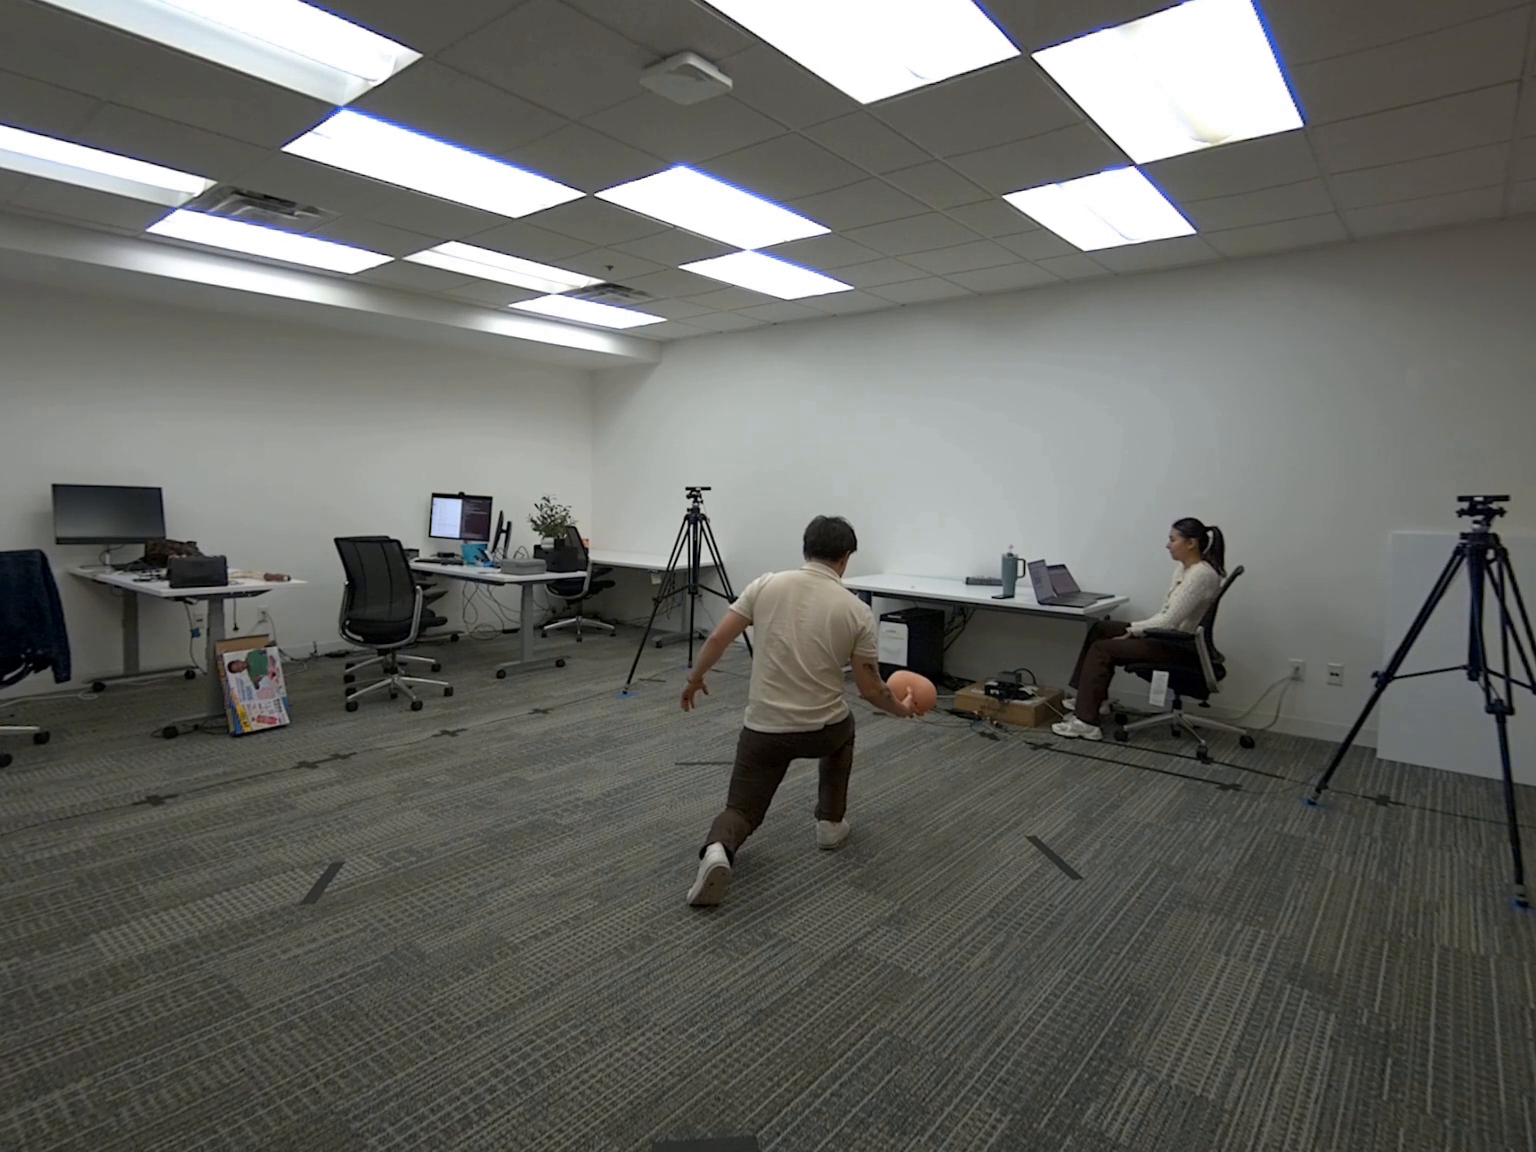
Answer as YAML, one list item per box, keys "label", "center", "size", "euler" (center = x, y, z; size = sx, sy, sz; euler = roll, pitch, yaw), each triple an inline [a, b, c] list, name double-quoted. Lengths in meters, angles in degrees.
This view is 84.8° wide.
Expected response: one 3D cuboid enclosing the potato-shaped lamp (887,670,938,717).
- label: "potato-shaped lamp"
  center: [0.572, 0.477, 3.444]
  size: [0.204, 0.159, 0.171]
  euler: [13, 42, 27]
